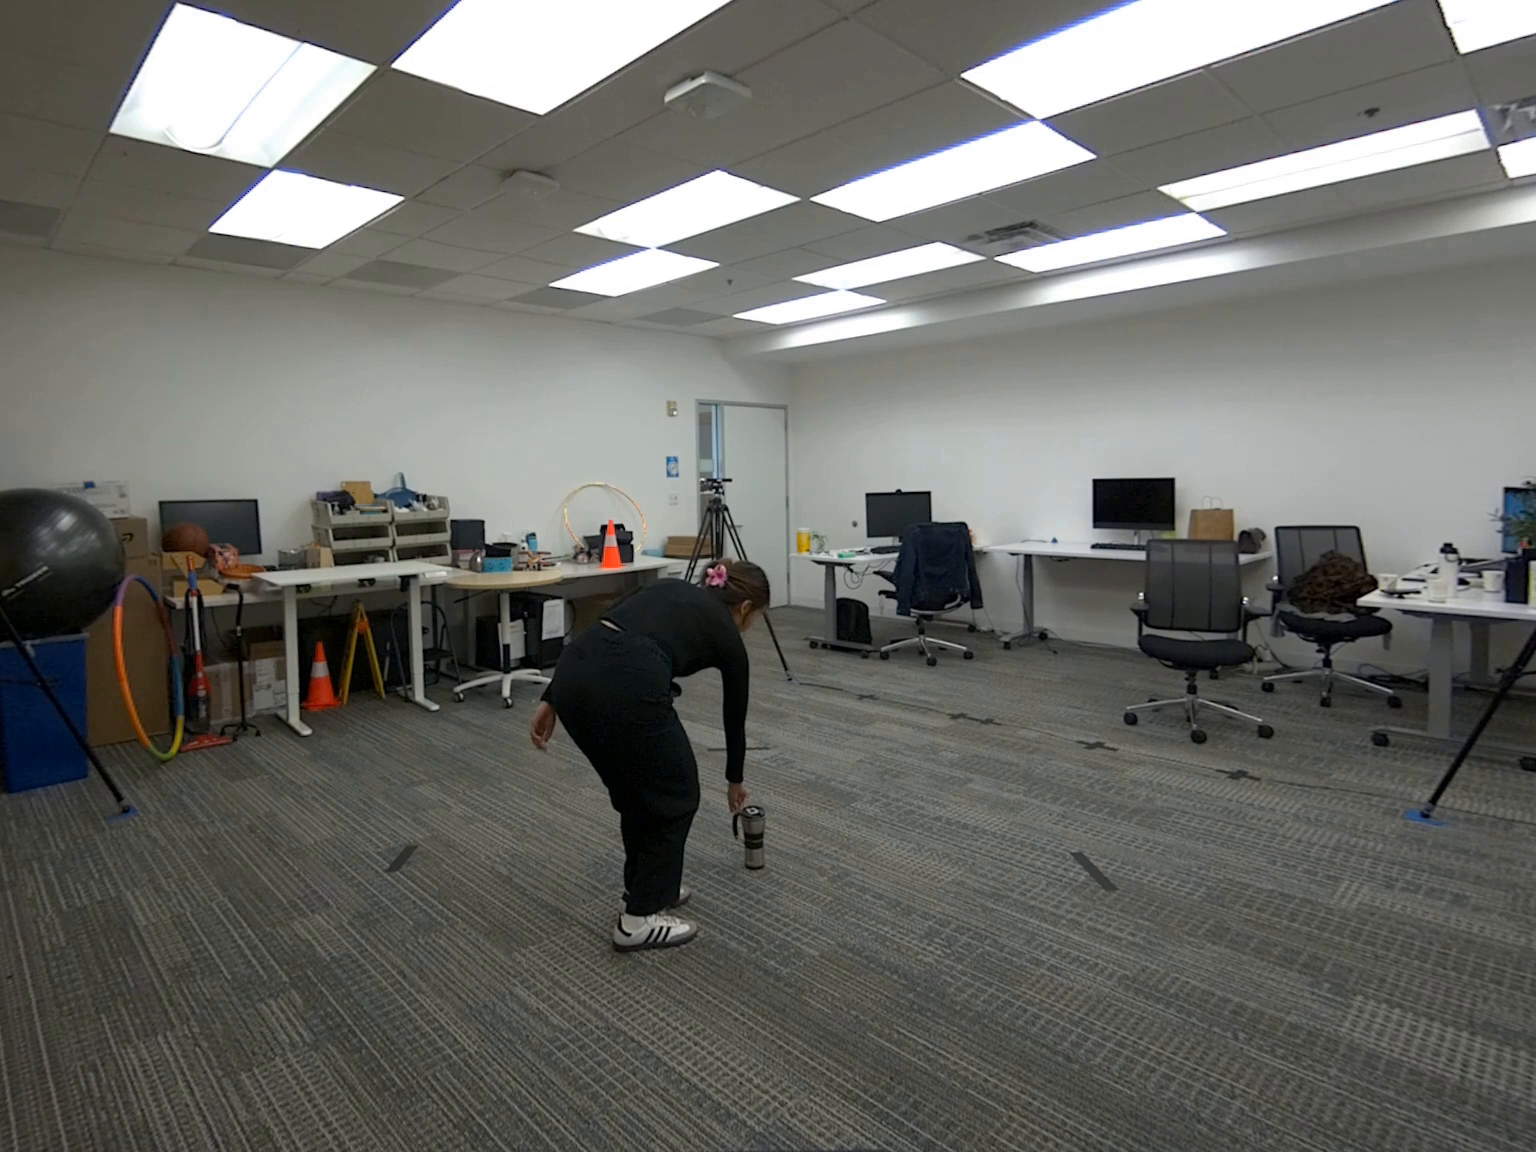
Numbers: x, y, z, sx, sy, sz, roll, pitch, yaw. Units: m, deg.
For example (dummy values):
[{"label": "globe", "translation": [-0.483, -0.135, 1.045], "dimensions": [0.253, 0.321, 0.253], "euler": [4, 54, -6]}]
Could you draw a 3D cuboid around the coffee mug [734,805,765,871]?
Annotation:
[{"label": "coffee mug", "translation": [-0.041, 0.948, 3.093], "dimensions": [0.119, 0.202, 0.090], "euler": [-9, 3, -34]}]
